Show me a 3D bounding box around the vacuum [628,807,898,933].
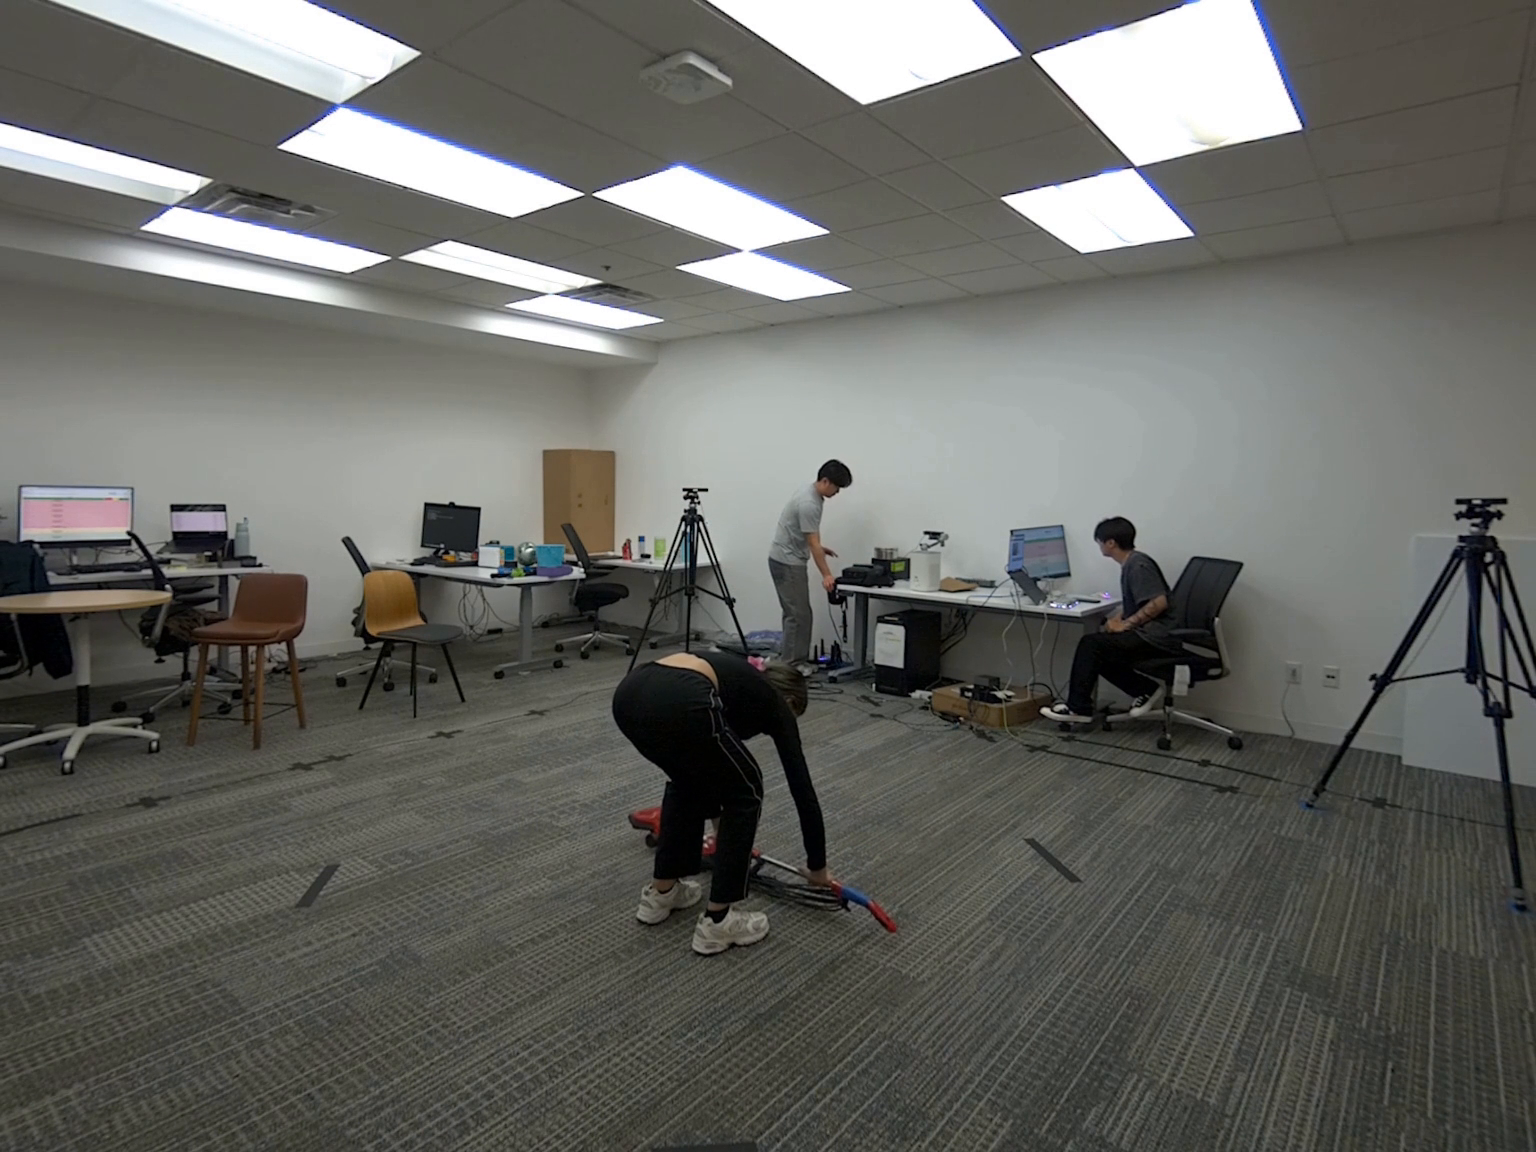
[{"bbox_3d":[-0.032,1.023,2.985,1.086,0.143,0.245,8,5,38],"label":"vacuum"}]
